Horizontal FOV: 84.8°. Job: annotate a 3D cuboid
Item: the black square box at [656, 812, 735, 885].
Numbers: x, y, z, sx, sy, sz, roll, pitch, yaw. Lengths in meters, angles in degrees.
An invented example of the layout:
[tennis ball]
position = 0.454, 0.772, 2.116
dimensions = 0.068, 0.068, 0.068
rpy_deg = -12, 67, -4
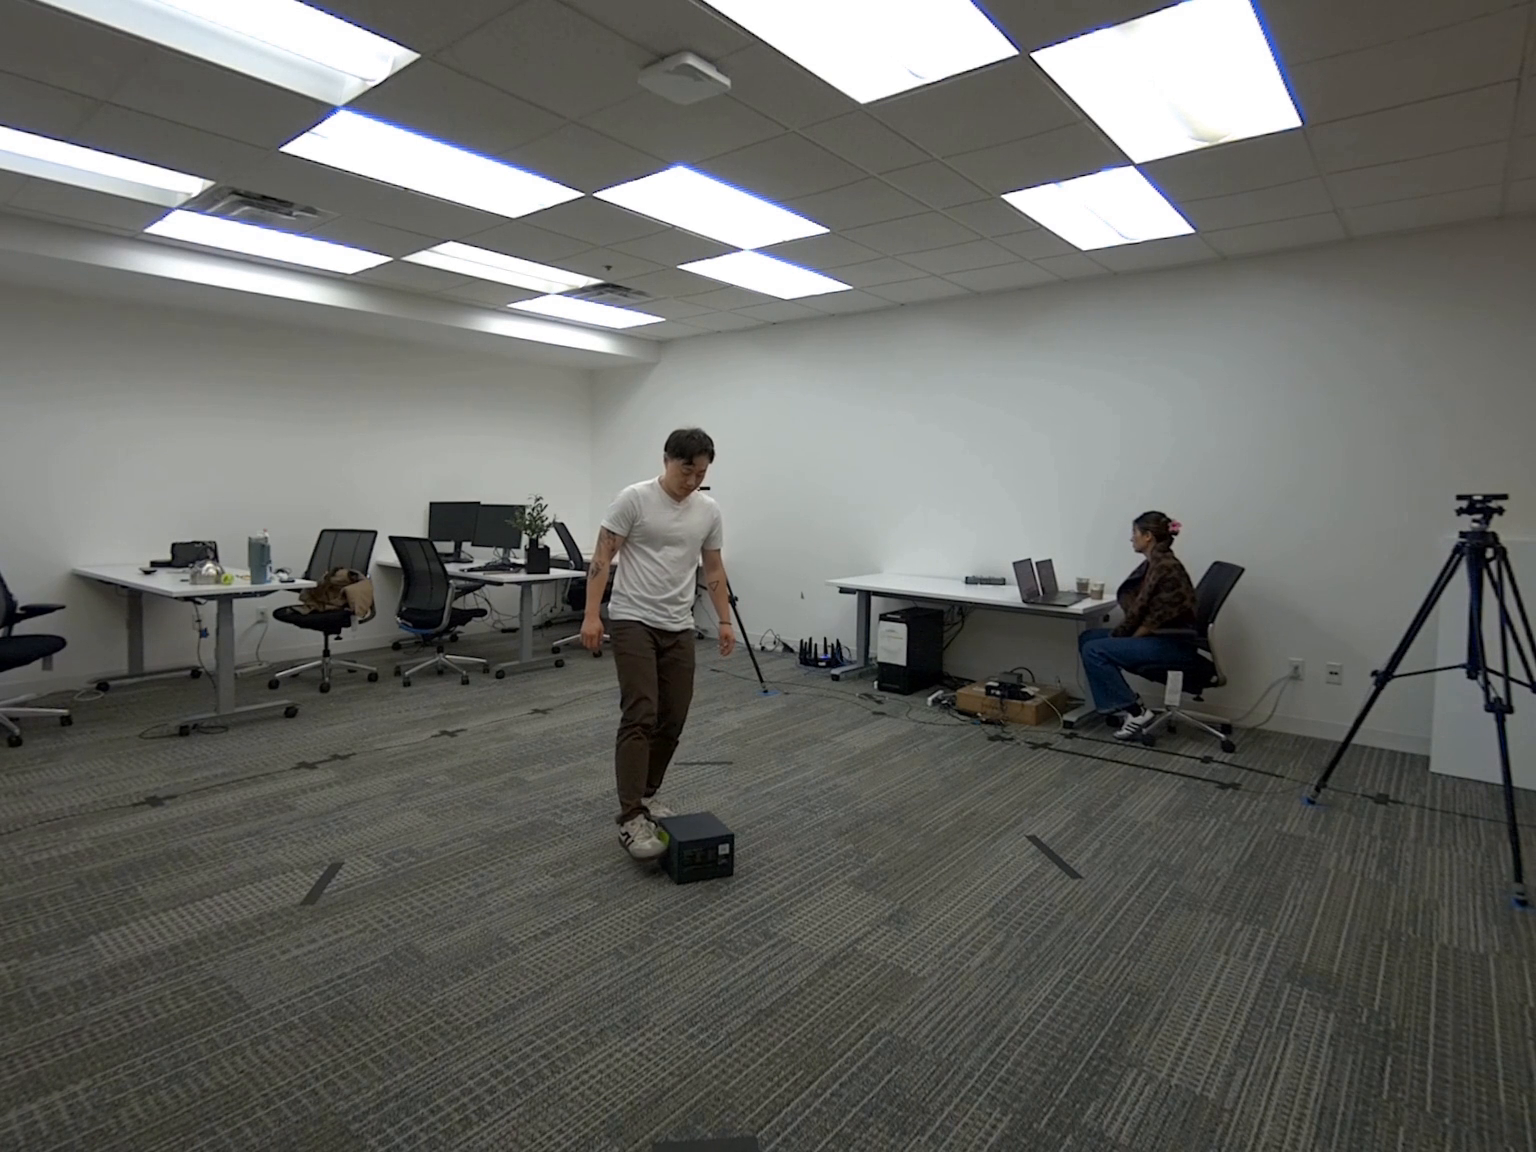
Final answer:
[black square box]
position = -0.275, 0.980, 3.104
dimensions = 0.212, 0.155, 0.234
rpy_deg = -1, 5, -24
